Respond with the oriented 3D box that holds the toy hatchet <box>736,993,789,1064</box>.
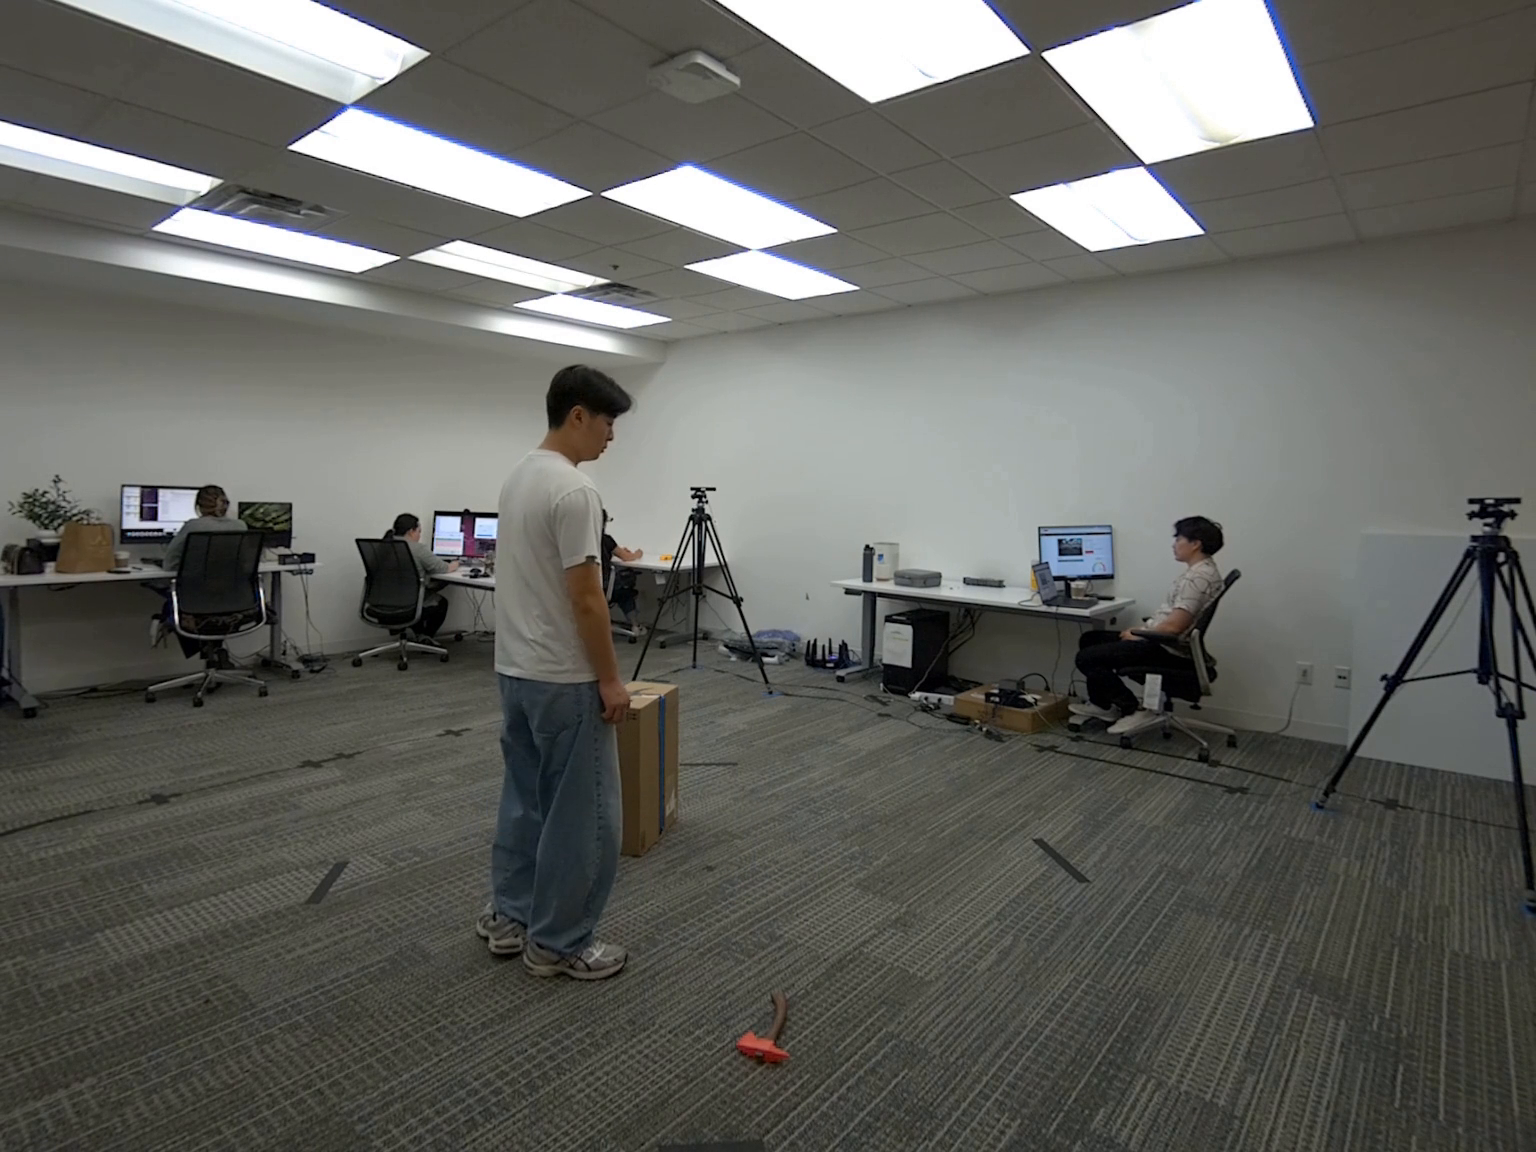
[{"bbox_3d":[-0.019,1.150,2.190,0.131,0.029,0.270,-2,3,2],"label":"toy hatchet"}]
